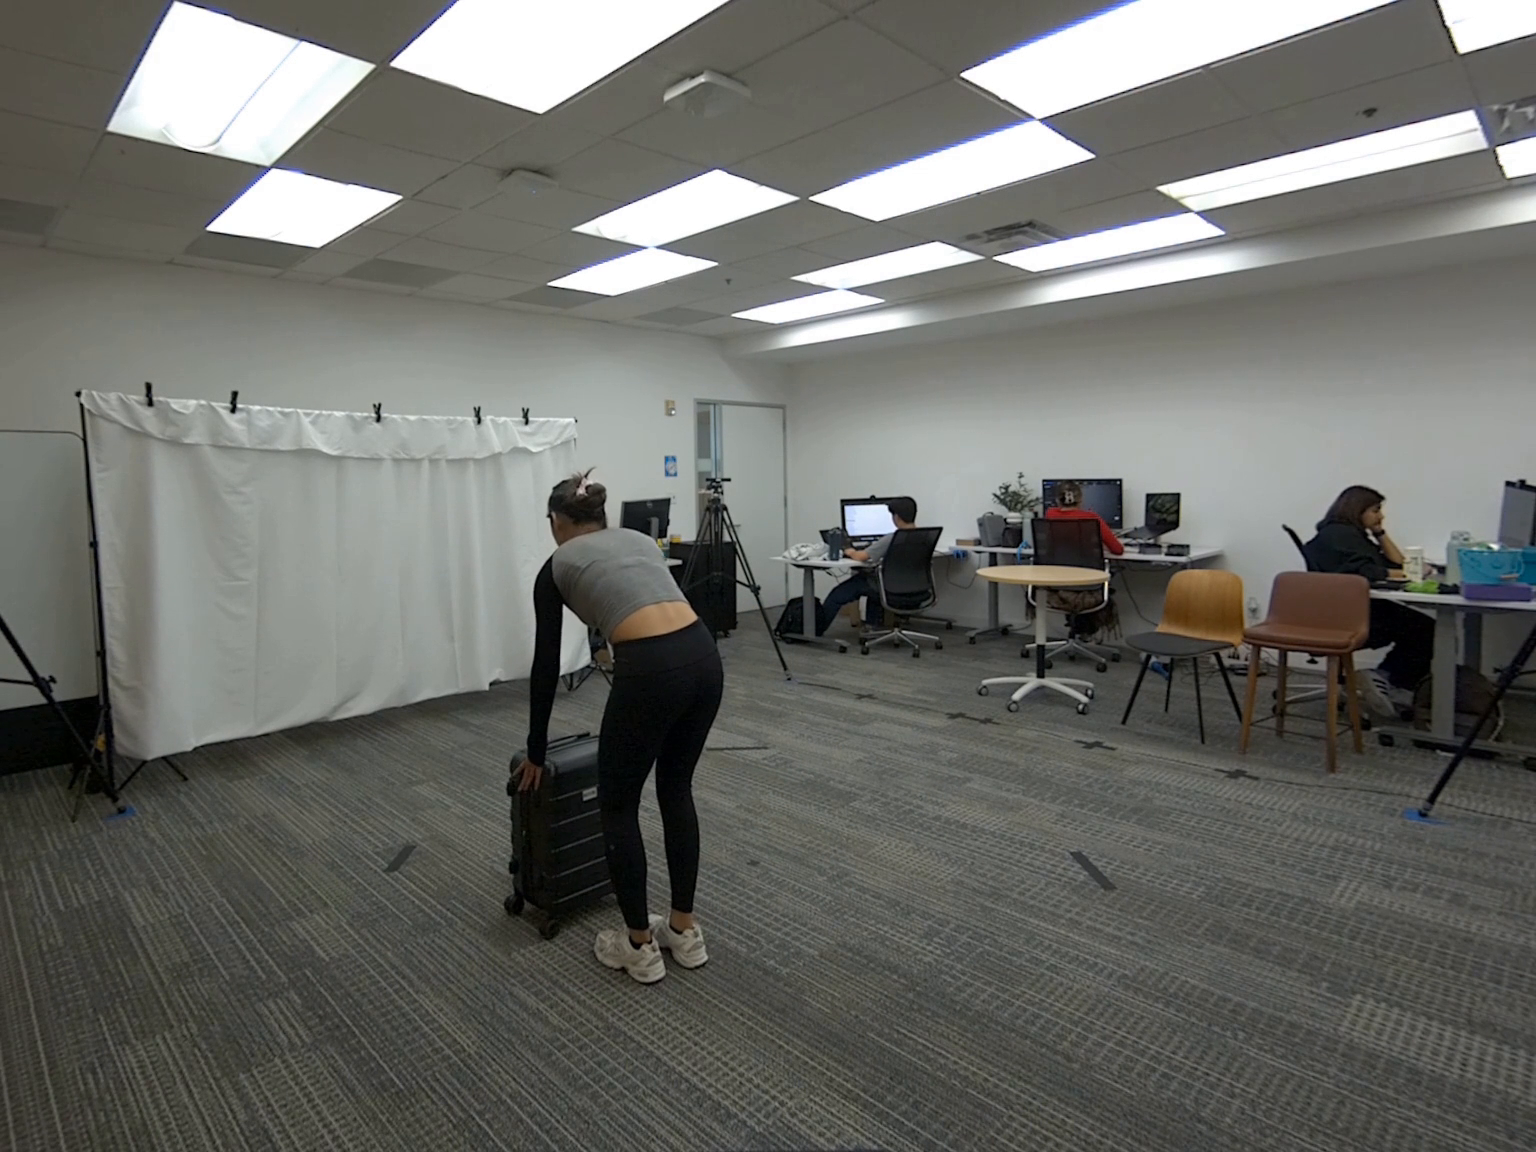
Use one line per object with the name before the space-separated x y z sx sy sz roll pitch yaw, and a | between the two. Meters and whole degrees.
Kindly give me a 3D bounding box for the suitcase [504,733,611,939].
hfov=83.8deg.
suitcase | -0.642 0.813 2.805 0.256 0.548 0.365 3 5 45
